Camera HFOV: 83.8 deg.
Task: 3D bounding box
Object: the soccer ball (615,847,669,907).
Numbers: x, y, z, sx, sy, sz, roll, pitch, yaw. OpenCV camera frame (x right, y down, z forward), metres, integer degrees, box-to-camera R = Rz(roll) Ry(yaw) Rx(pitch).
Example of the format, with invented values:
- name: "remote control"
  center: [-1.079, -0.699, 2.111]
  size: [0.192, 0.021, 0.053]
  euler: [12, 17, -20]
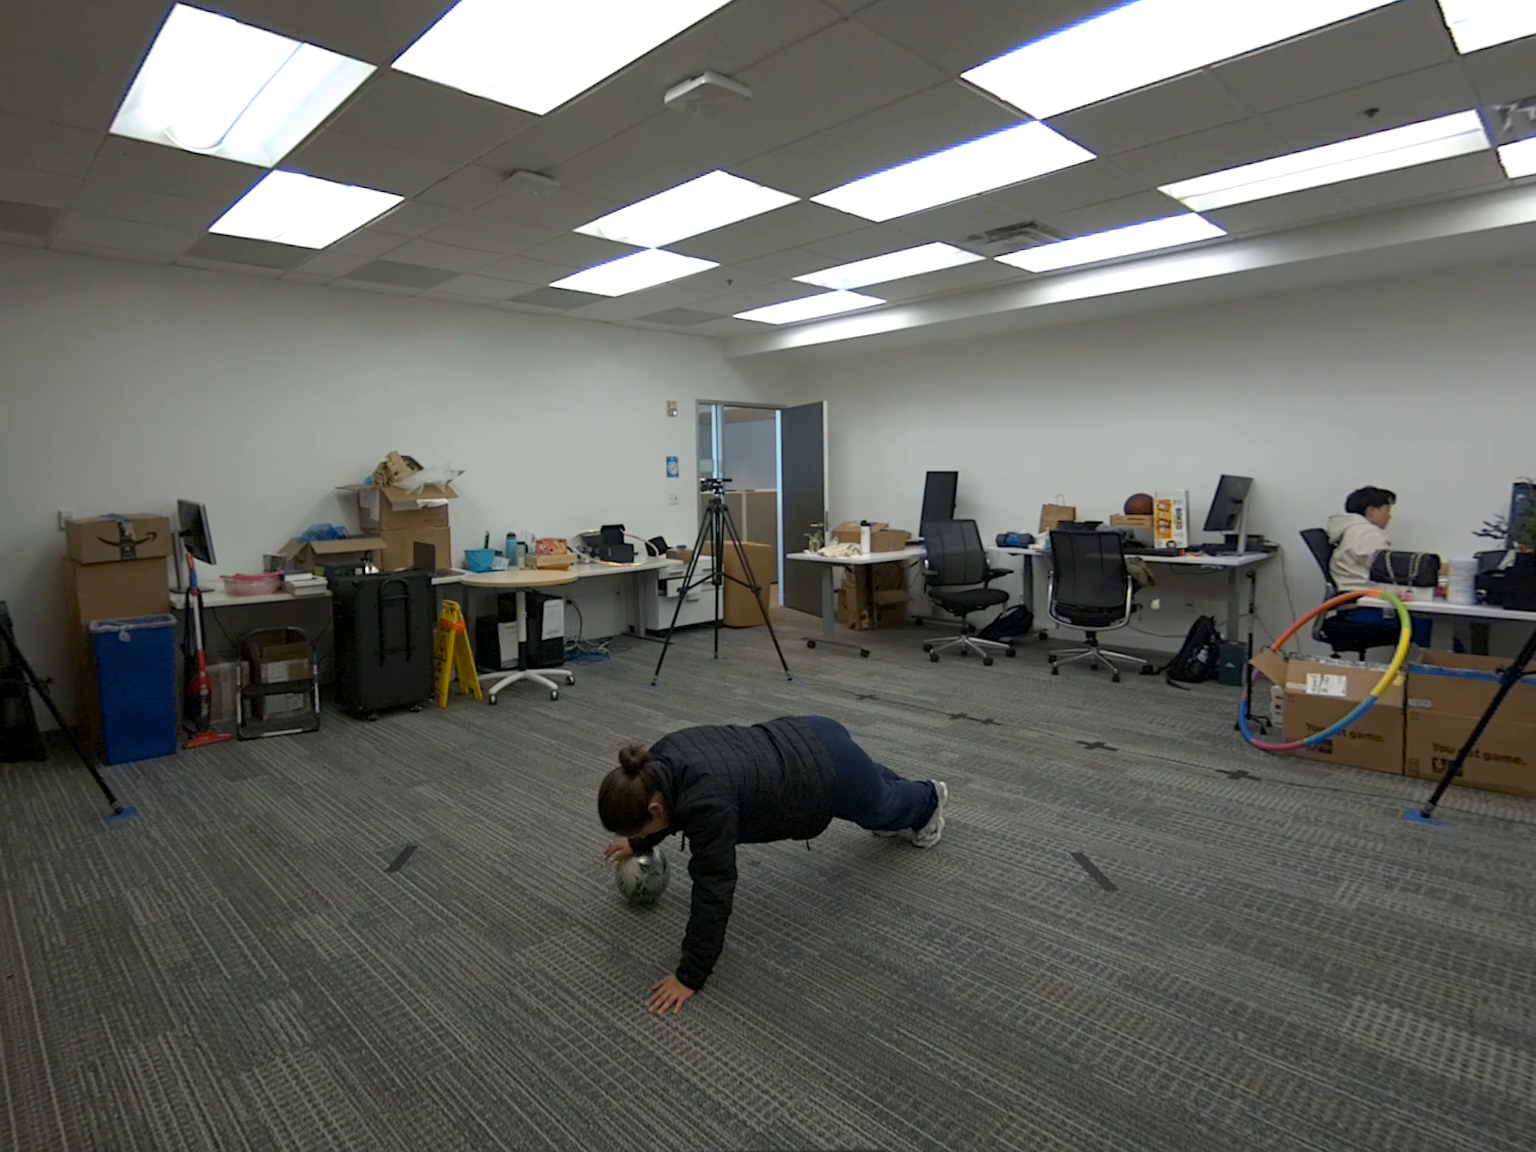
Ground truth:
- name: "soccer ball"
  center: [-0.402, 0.985, 2.844]
  size: [0.187, 0.187, 0.188]
  euler: [-1, 5, -2]
